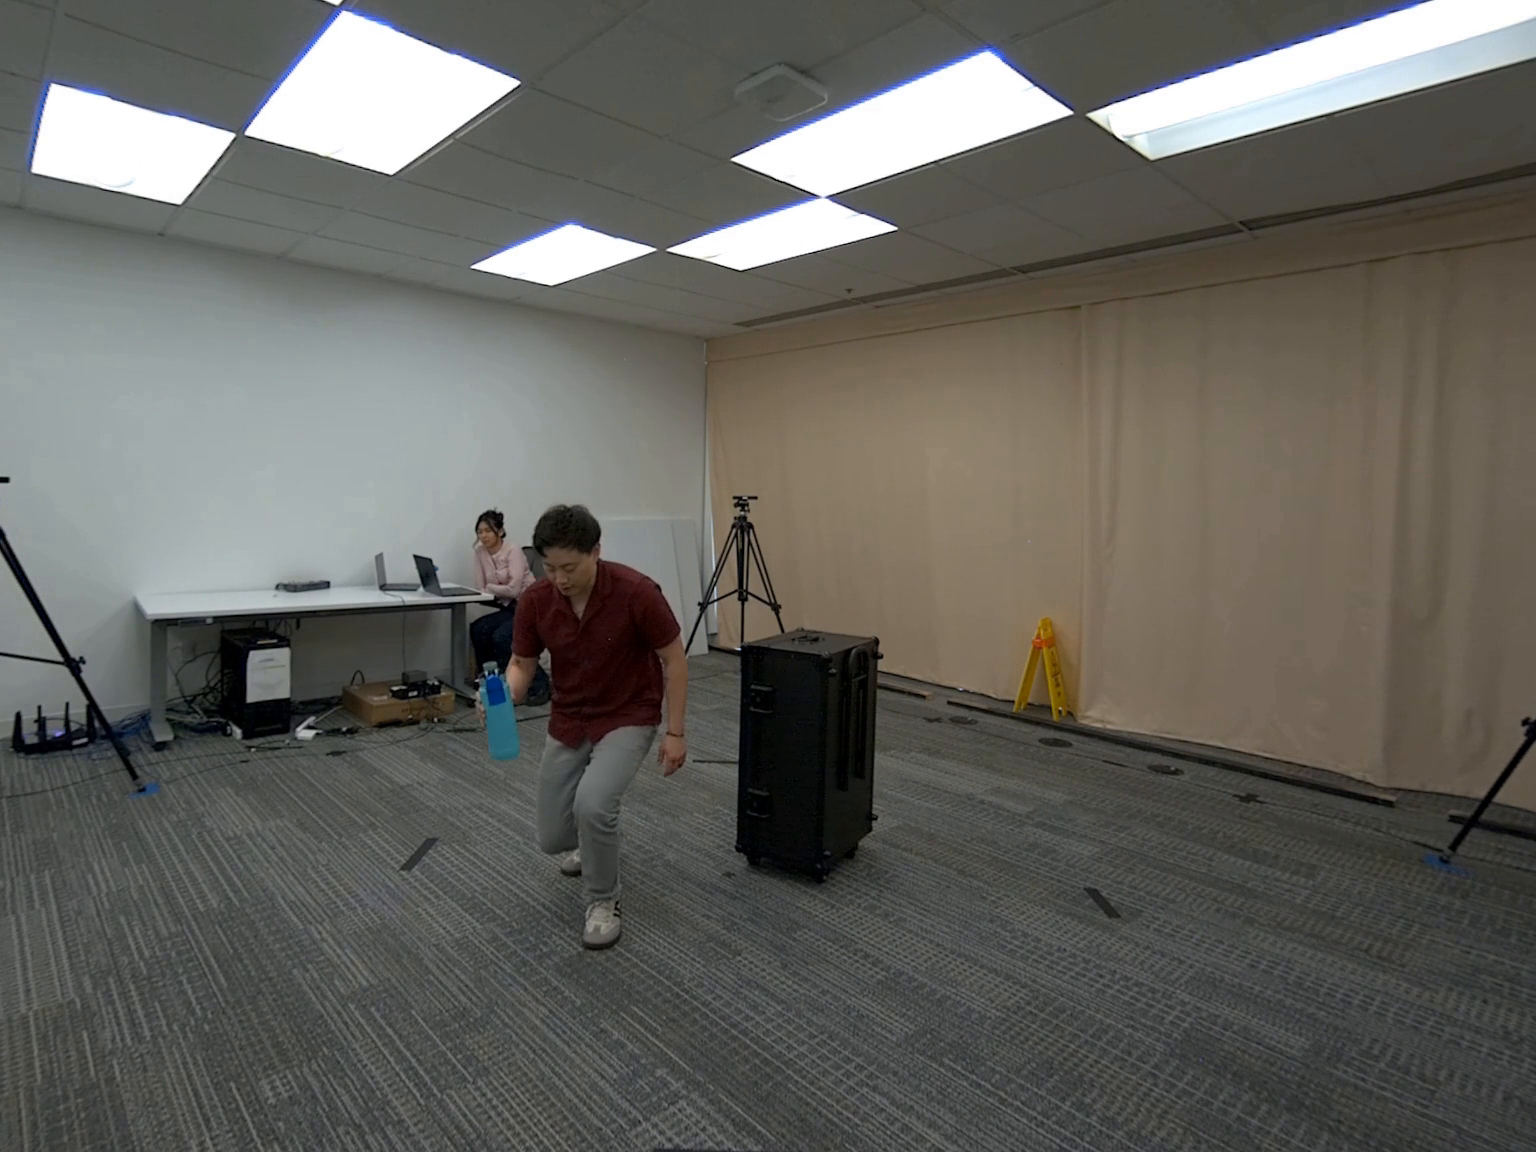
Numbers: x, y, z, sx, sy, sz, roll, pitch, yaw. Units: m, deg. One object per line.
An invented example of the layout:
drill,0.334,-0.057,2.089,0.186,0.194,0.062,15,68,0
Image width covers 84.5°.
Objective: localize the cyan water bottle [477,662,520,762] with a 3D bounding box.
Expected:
cyan water bottle,-0.820,0.403,2.492,0.092,0.280,0.093,-5,13,0
